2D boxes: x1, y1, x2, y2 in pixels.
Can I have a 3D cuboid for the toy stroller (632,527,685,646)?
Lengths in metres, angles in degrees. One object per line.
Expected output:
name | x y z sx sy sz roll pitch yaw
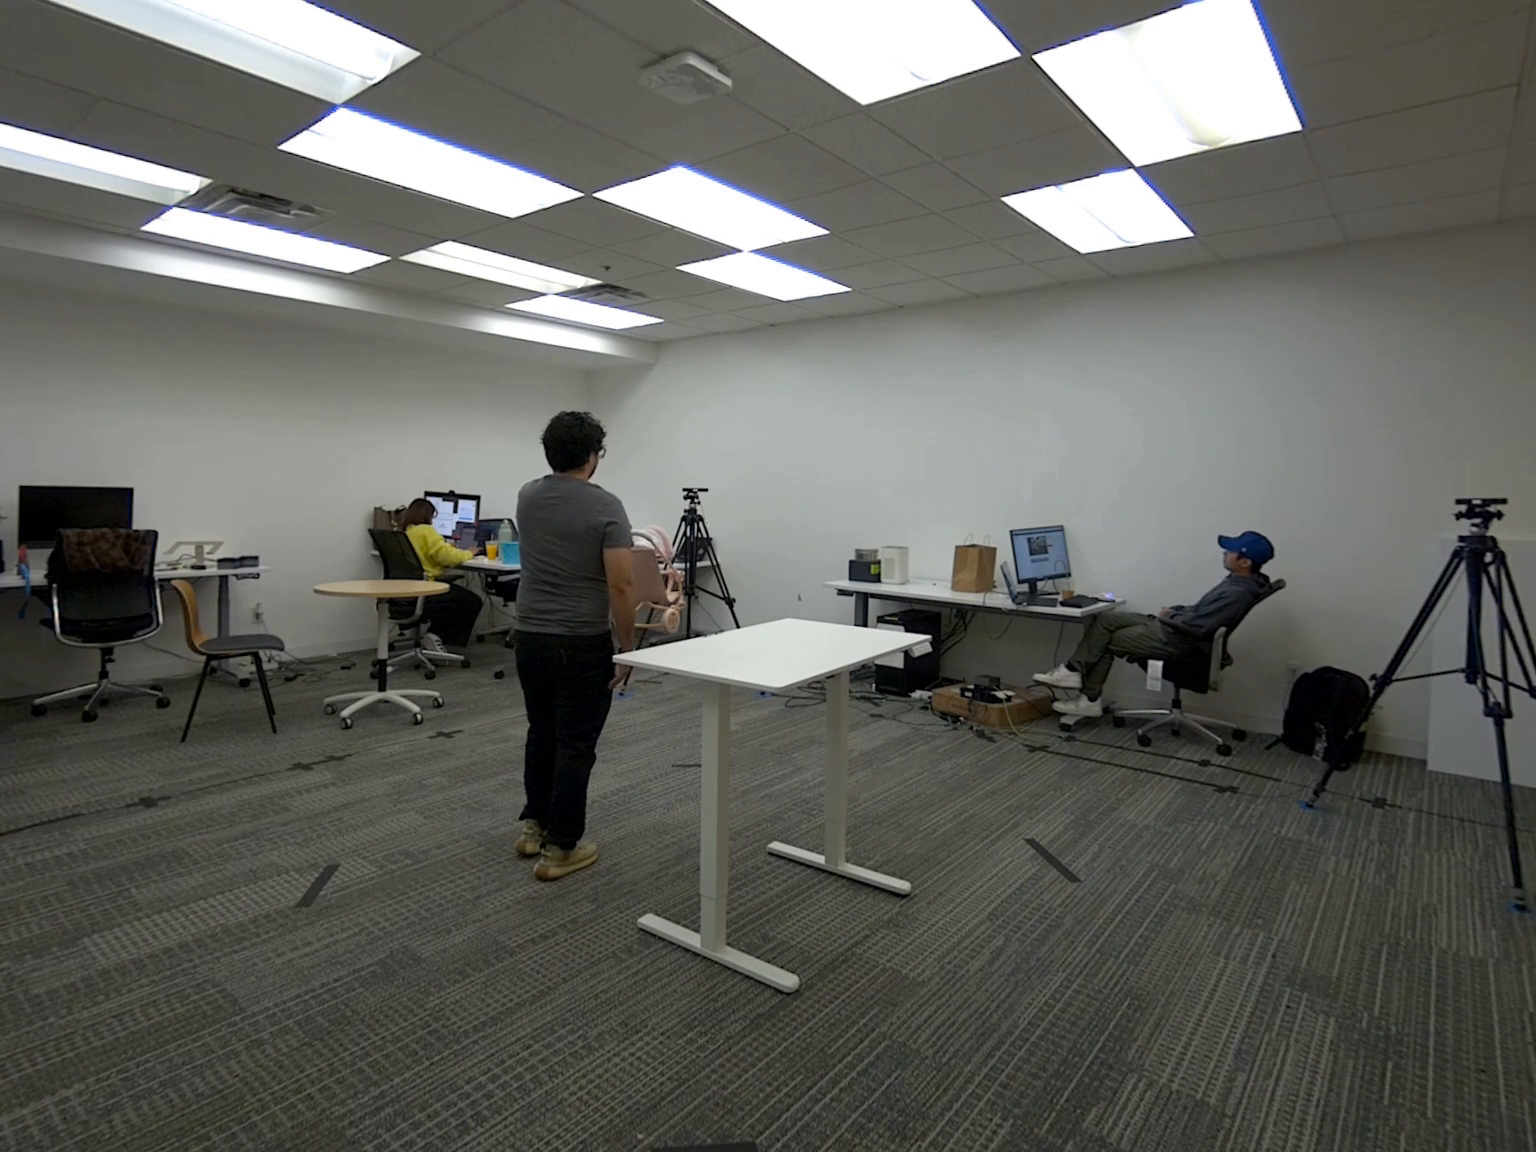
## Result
toy stroller | -0.526 0.017 3.779 0.289 0.528 0.337 0 14 27
